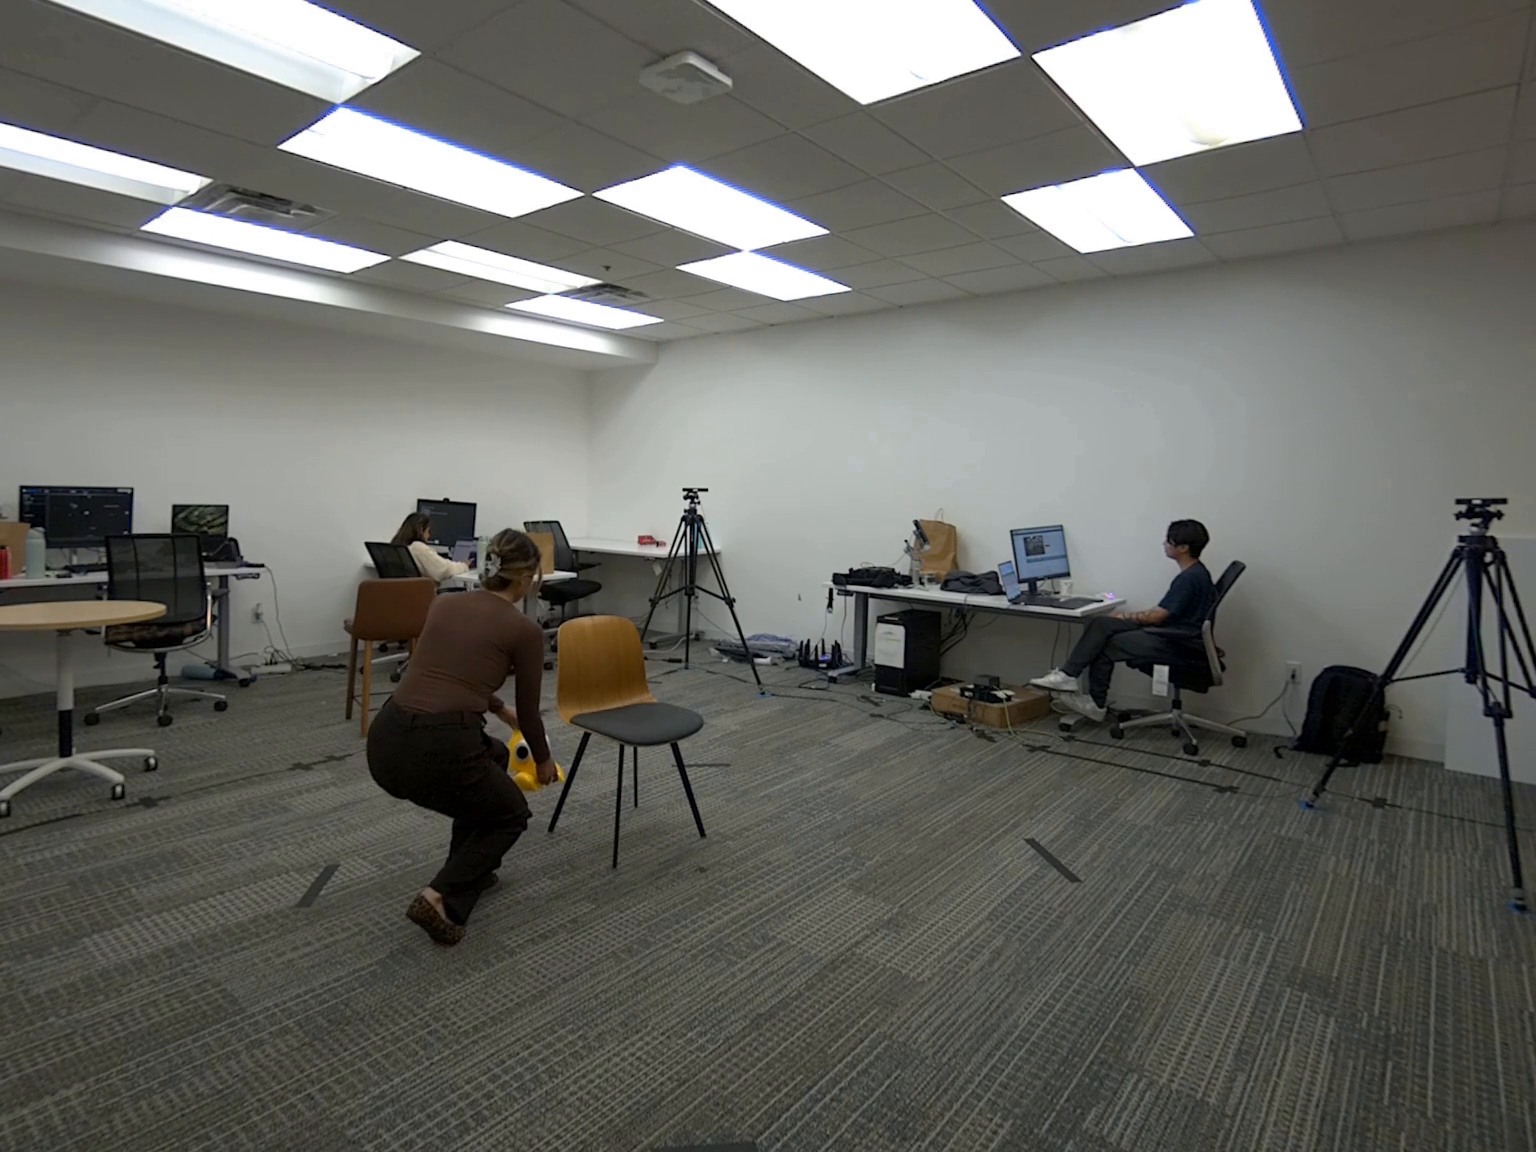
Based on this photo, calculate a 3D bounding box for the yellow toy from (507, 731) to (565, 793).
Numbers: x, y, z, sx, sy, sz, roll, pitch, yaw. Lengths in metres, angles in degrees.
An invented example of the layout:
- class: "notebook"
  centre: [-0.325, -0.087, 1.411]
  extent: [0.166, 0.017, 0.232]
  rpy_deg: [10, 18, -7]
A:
- class: "yellow toy"
  centre: [-0.887, 0.651, 3.179]
  extent: [0.199, 0.230, 0.199]
  rpy_deg: [1, 4, 34]
